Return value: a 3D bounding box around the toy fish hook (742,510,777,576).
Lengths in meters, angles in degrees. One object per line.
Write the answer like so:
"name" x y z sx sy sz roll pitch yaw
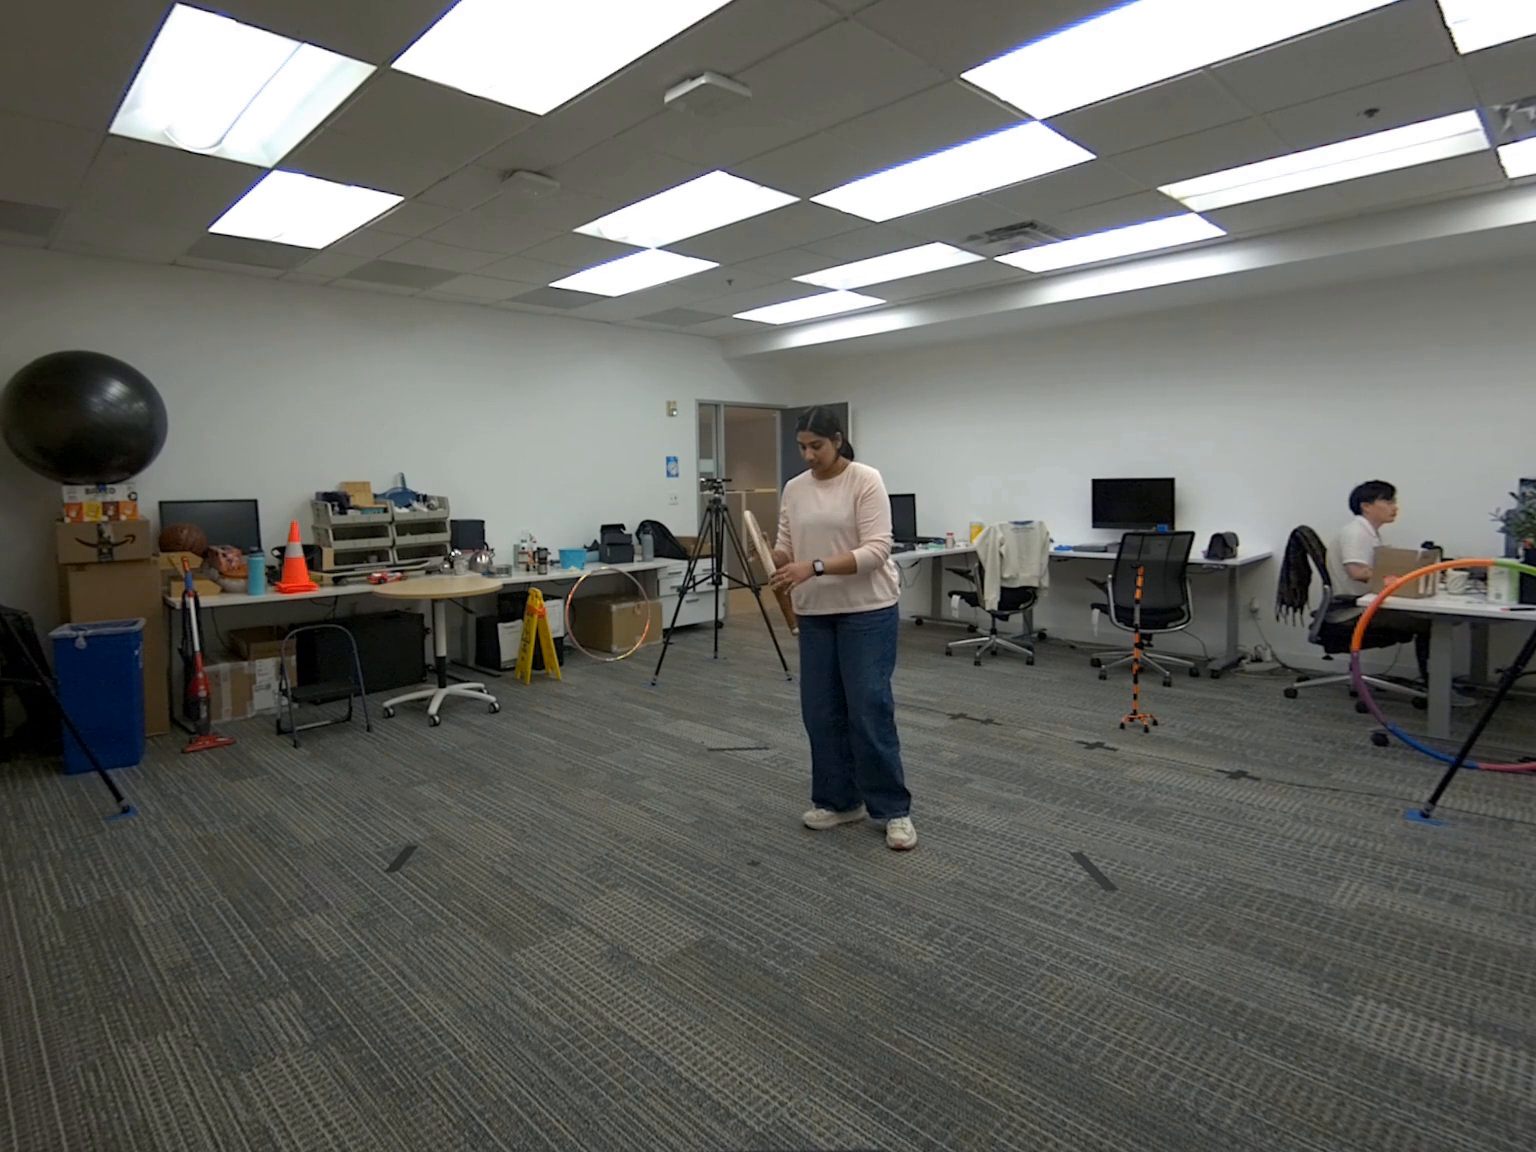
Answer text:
"toy fish hook" 0.009 0.005 3.153 0.048 0.504 0.225 -22 5 8
